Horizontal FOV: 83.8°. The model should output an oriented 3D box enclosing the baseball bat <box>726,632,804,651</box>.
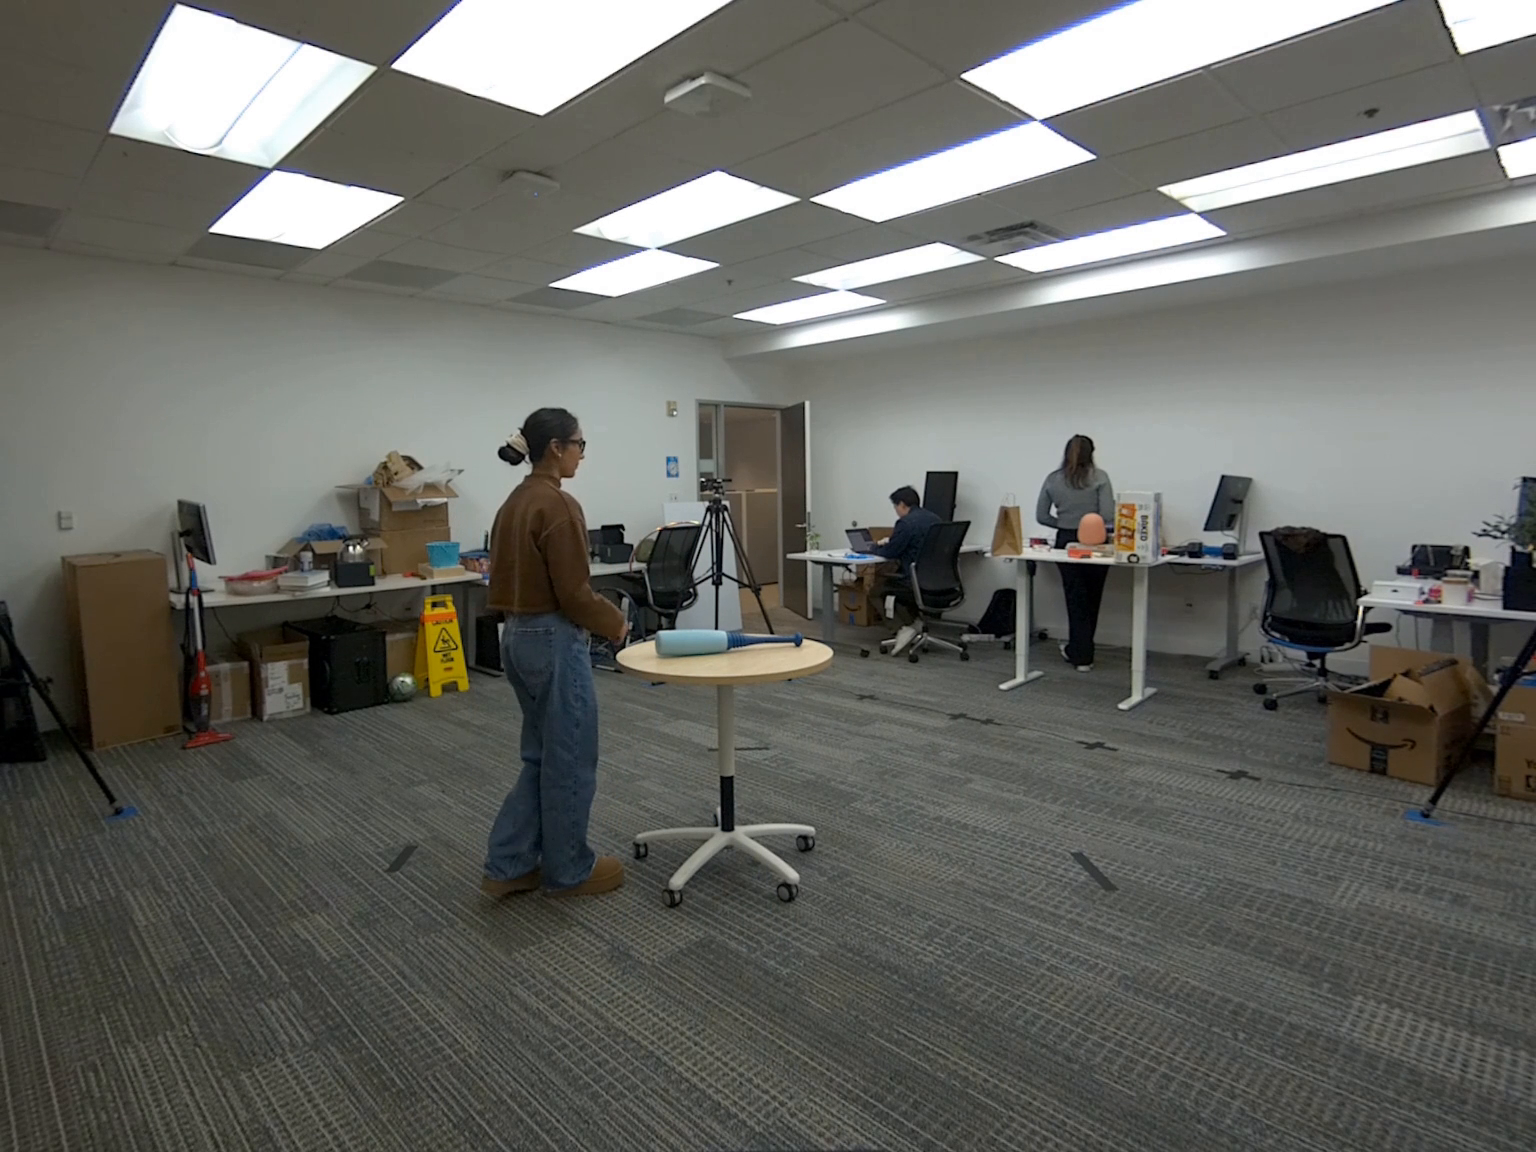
[{"bbox_3d":[-0.135,0.234,3.039,0.534,0.089,0.091,0,4,-17],"label":"baseball bat"}]
